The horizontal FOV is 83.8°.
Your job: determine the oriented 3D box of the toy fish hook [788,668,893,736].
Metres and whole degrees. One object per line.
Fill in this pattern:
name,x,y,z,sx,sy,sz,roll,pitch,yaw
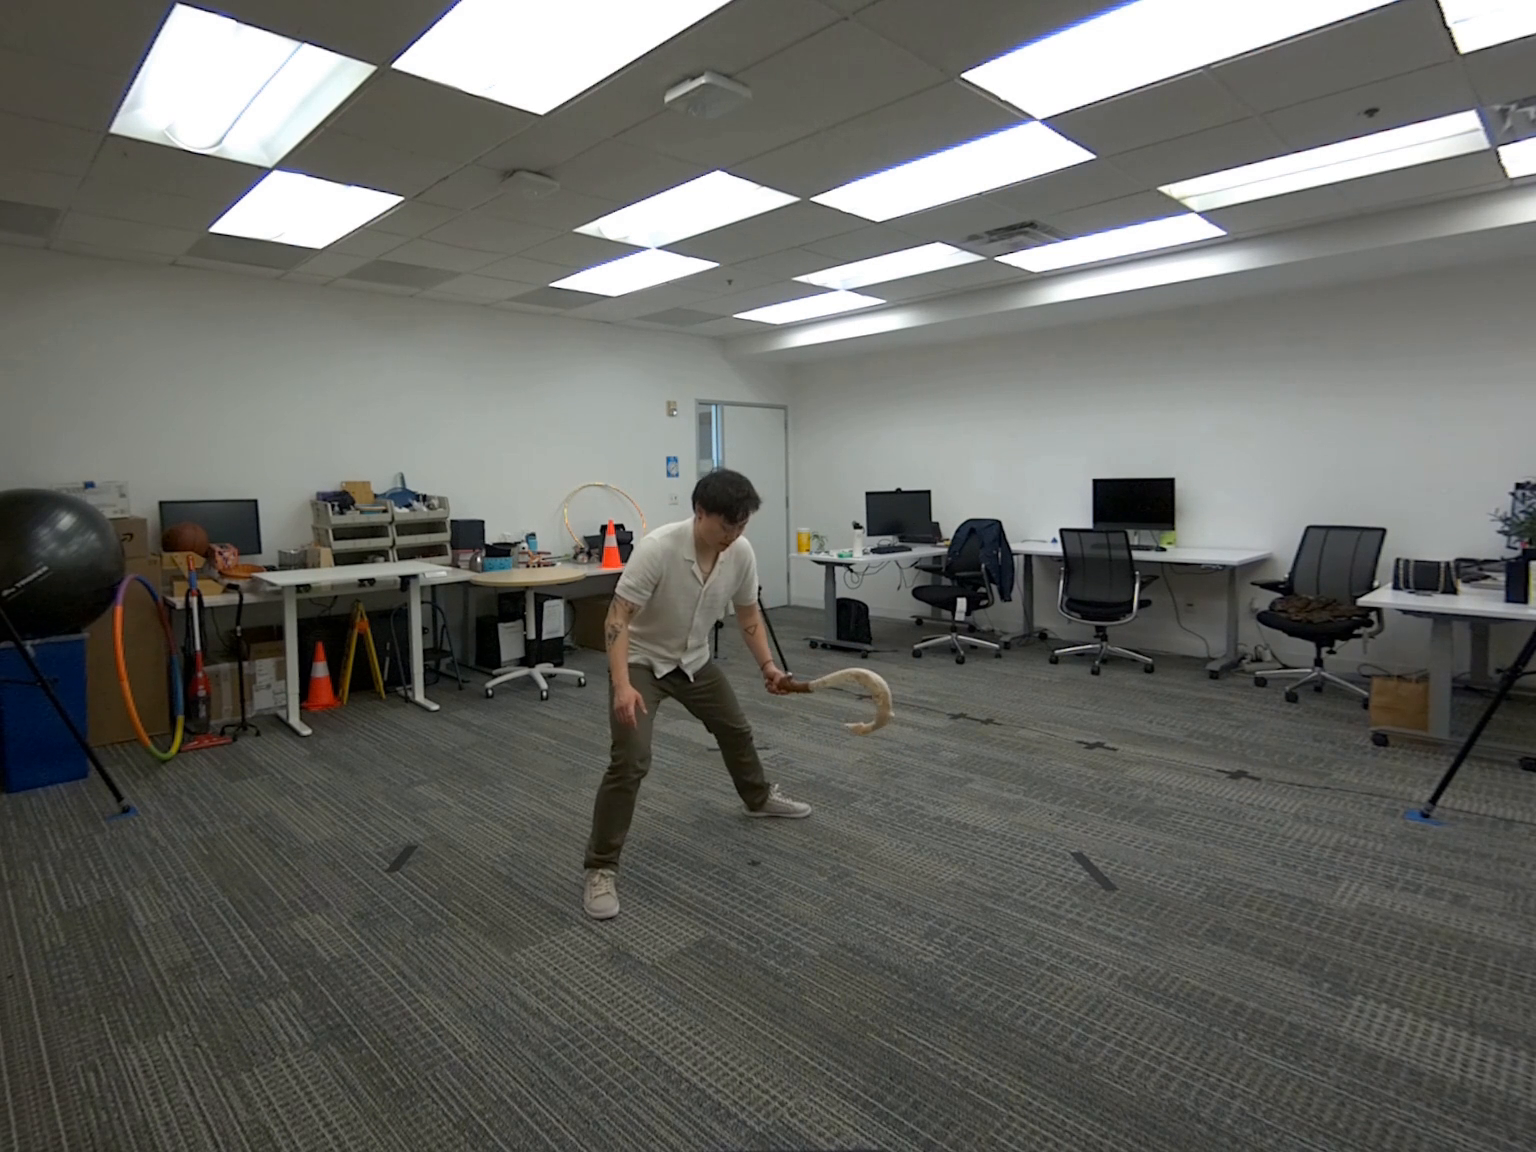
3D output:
toy fish hook,0.203,0.428,2.903,0.520,0.225,0.047,-5,-1,40
